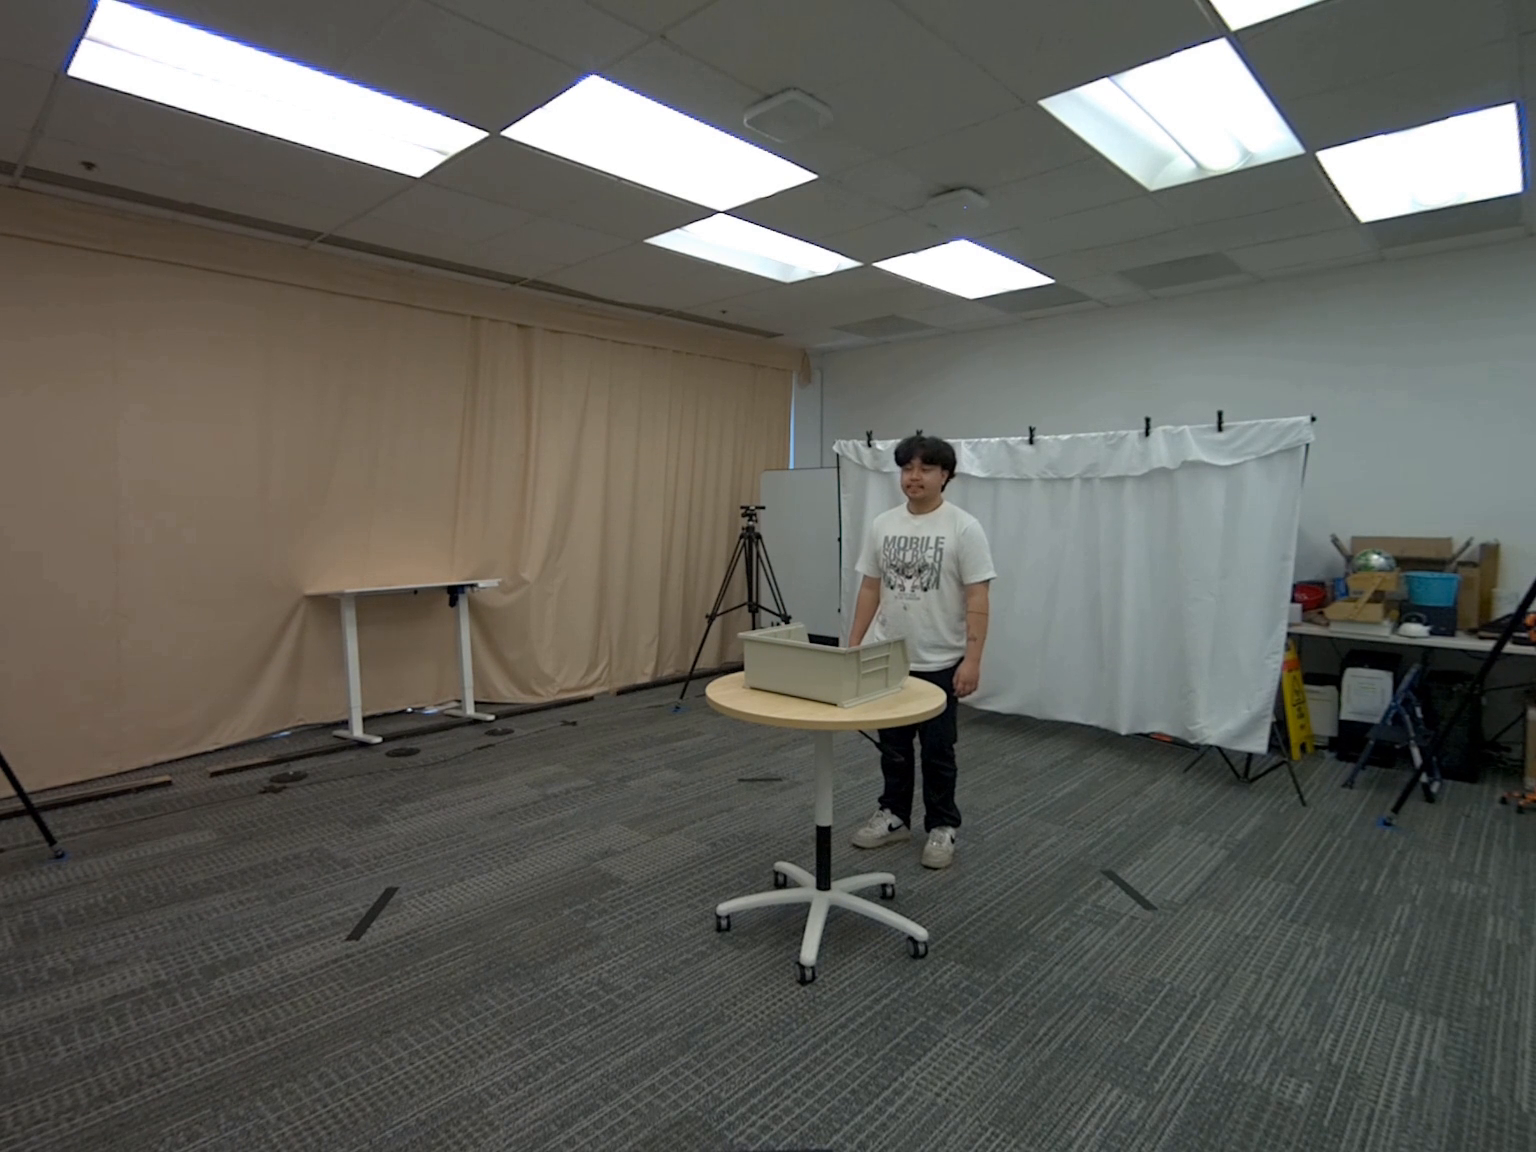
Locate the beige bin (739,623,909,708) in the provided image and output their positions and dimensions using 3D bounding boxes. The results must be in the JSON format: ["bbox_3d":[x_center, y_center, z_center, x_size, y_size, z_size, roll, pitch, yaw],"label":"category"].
[{"bbox_3d":[0.190,0.280,2.742,0.436,0.188,0.366,5,8,41],"label":"beige bin"}]
